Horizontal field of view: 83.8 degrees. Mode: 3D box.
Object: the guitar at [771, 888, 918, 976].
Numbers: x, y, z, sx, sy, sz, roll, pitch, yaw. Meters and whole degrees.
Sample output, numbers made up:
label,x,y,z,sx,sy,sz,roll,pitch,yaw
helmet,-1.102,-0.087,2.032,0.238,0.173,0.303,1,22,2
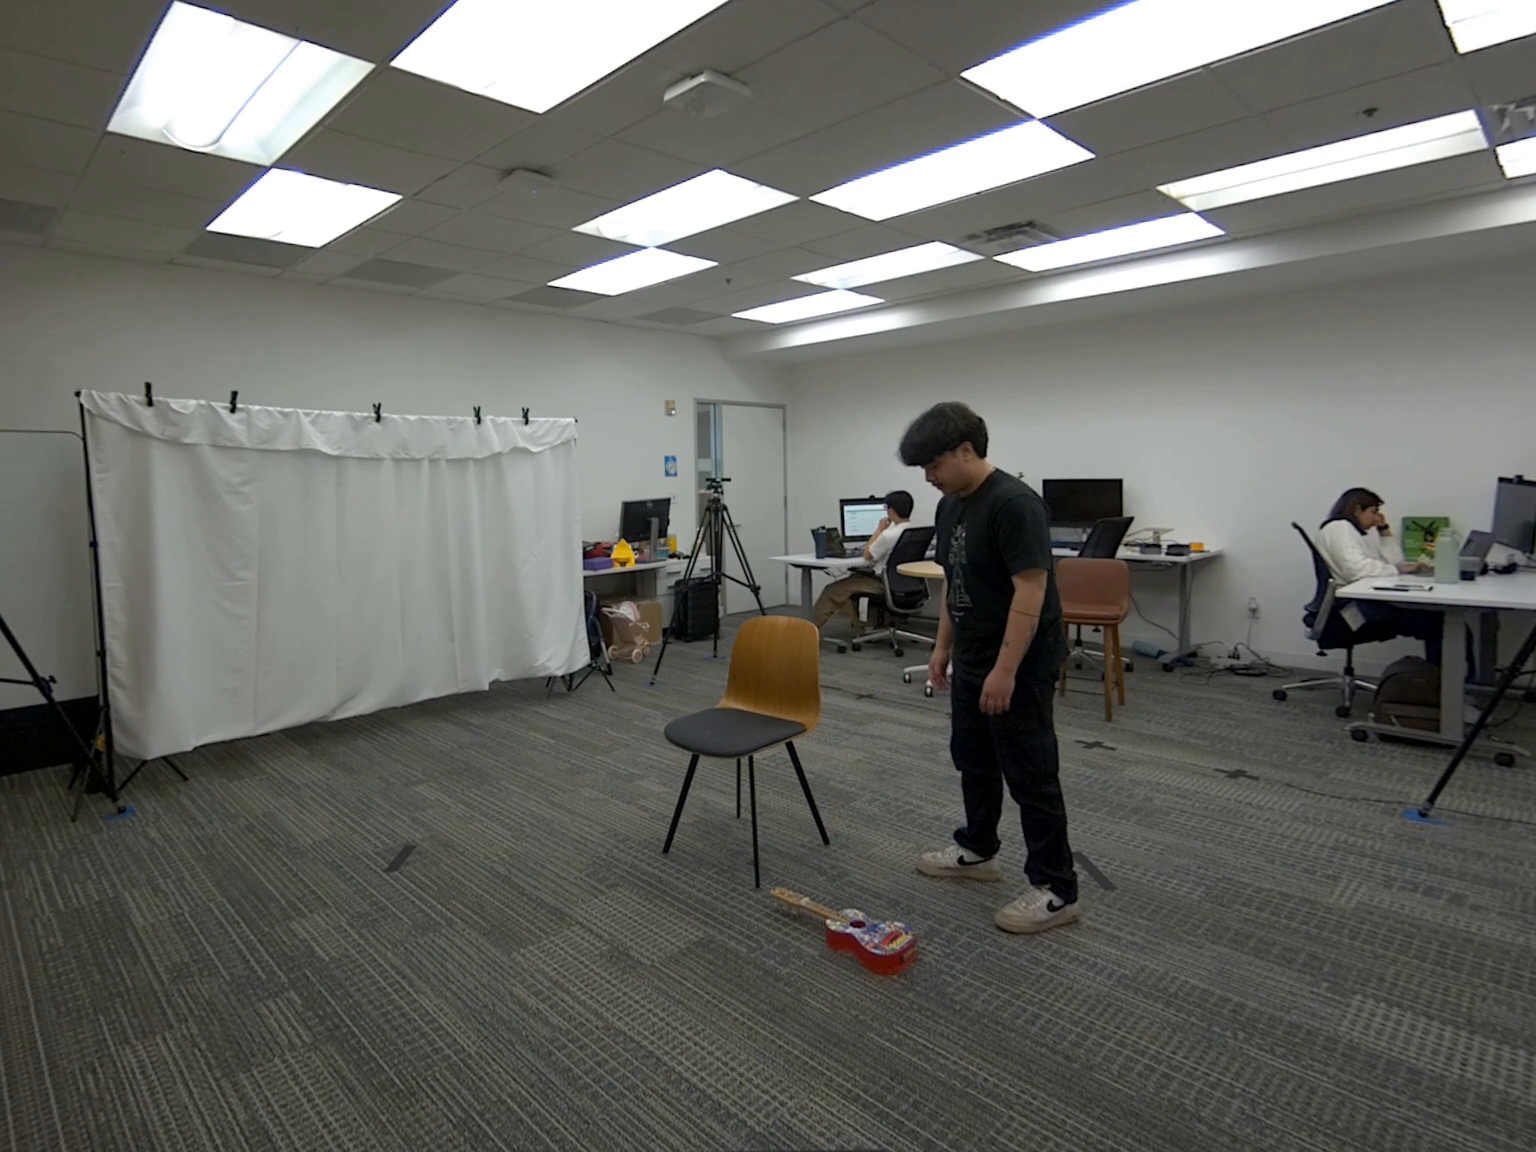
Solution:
label,x,y,z,sx,sy,sz,roll,pitch,yaw
guitar,0.238,1.063,2.617,0.188,0.070,0.513,-7,10,-40
